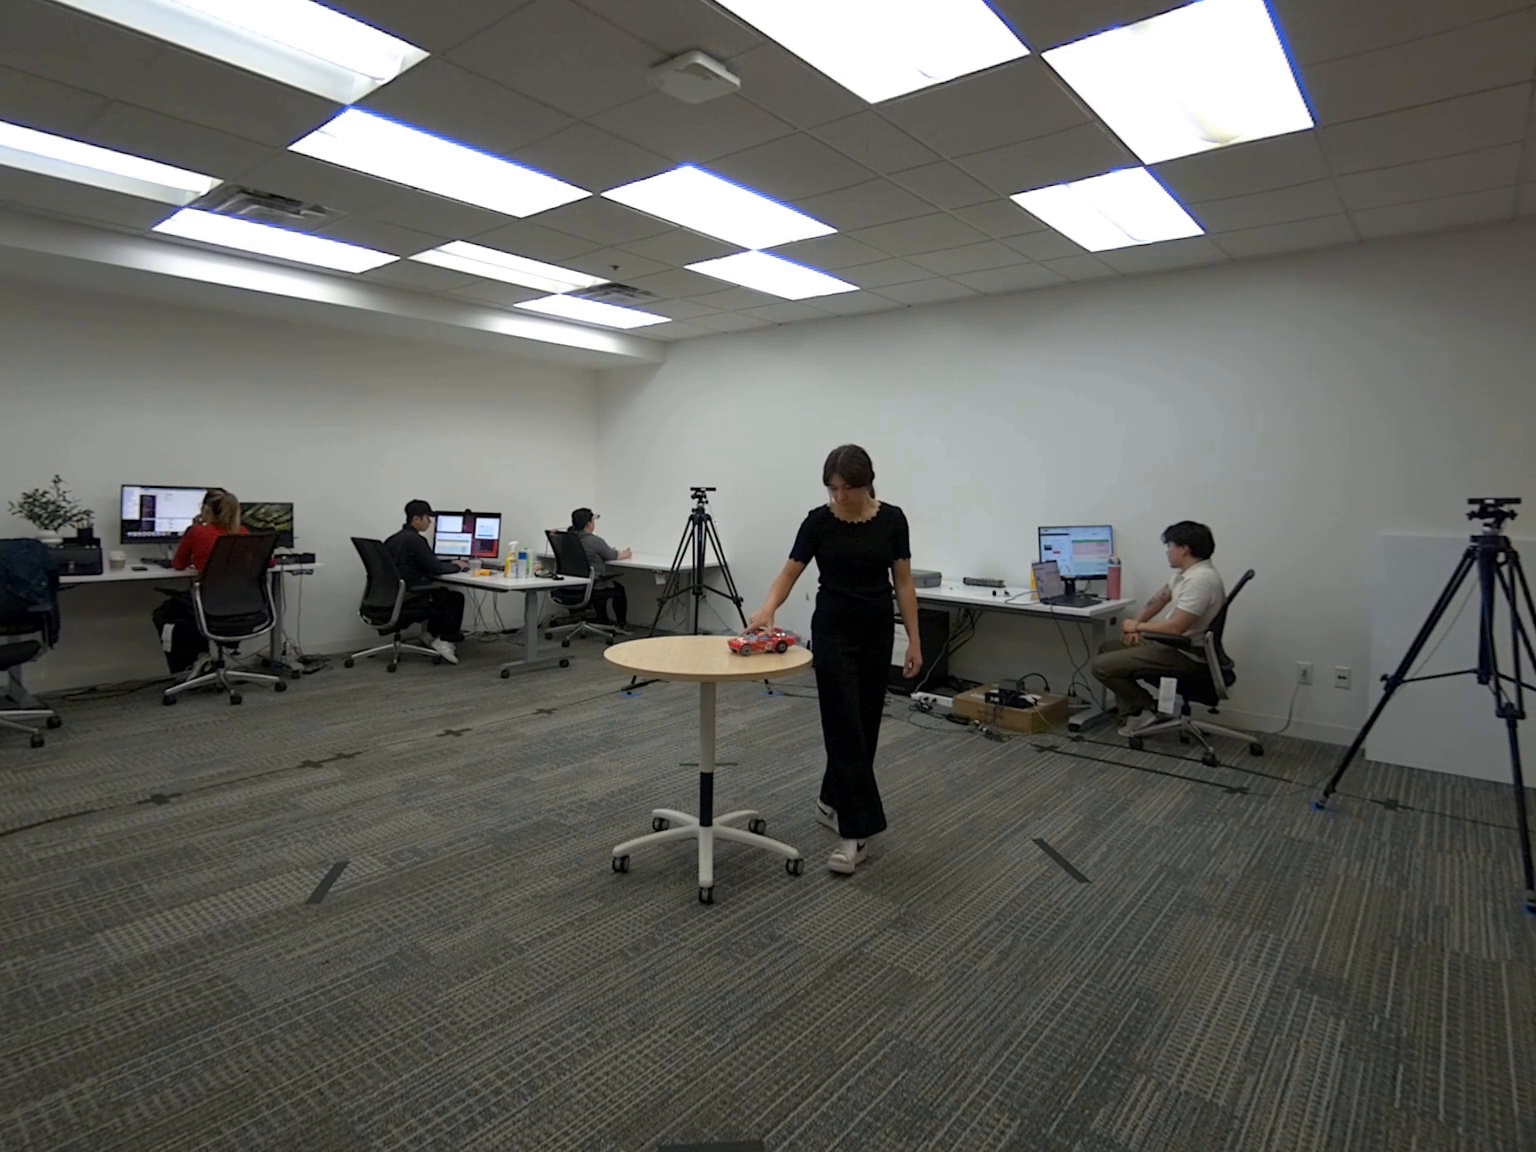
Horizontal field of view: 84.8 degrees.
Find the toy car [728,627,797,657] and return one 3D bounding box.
[{"bbox_3d":[-0.027,0.248,3.156,0.250,0.082,0.134,-14,10,-22],"label":"toy car"}]
